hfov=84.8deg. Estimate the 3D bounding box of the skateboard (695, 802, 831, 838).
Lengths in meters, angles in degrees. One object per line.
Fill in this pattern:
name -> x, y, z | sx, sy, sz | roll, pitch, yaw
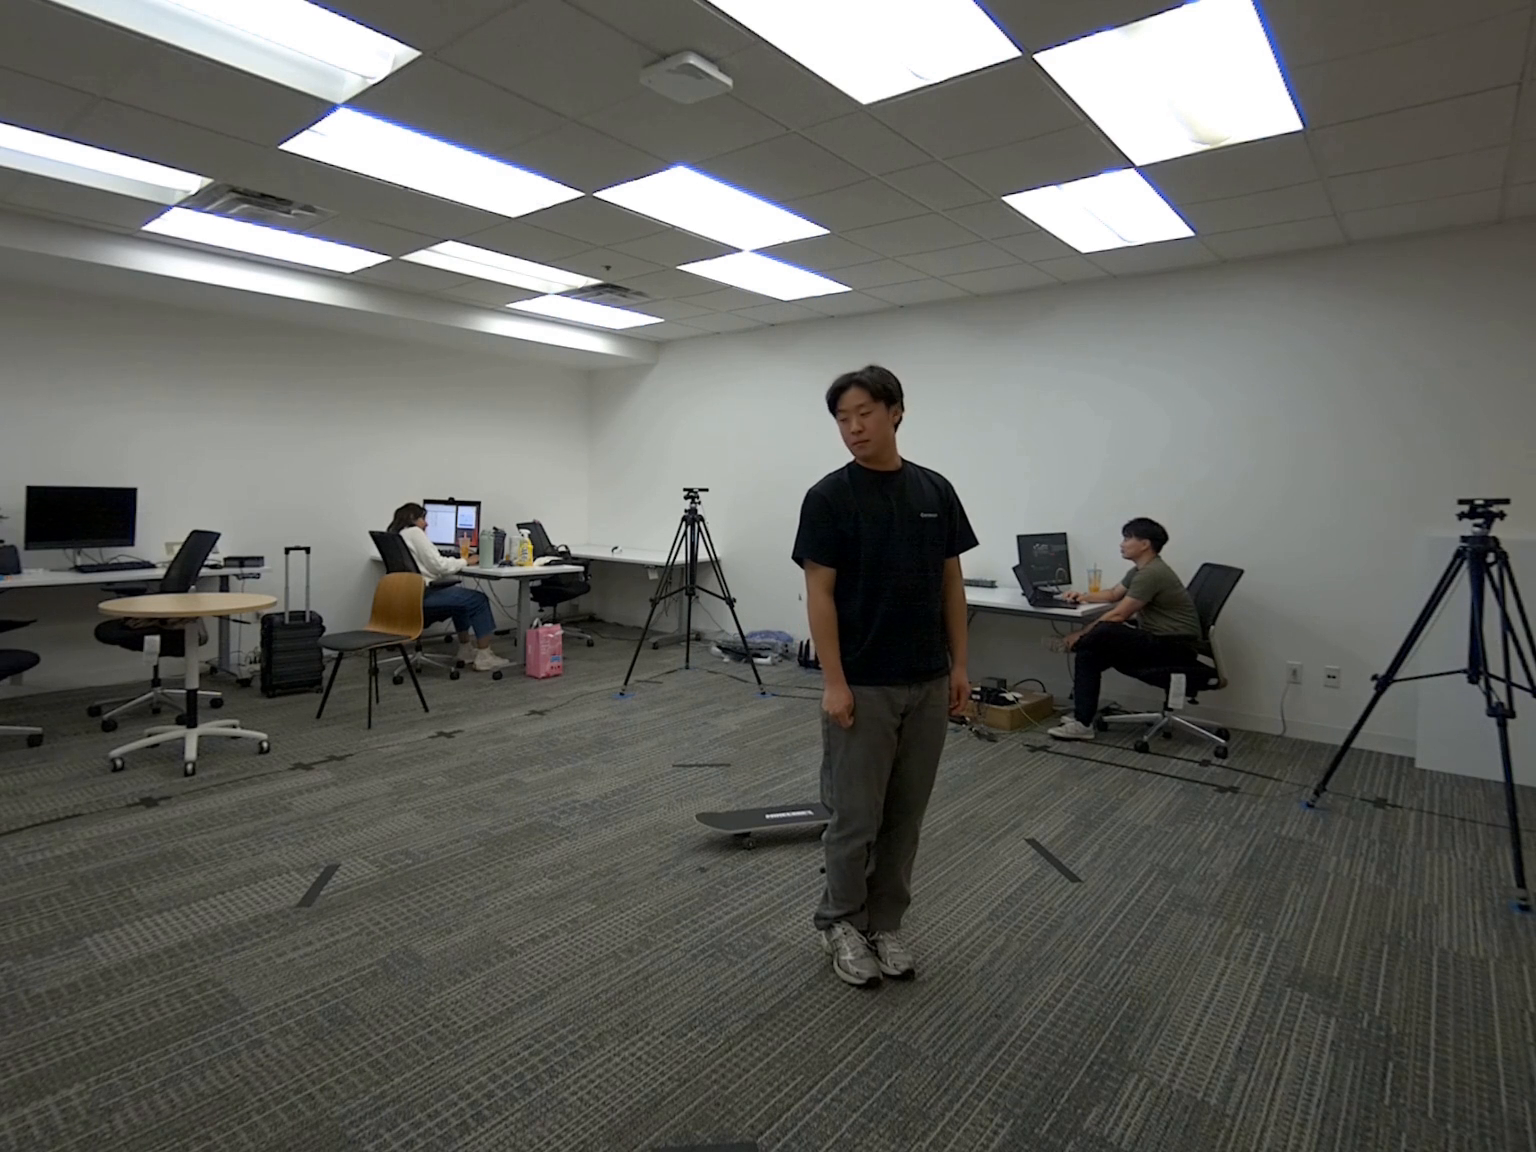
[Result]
skateboard -> 0.076, 0.990, 3.422 | 0.772, 0.110, 0.197 | -1, 5, -17
